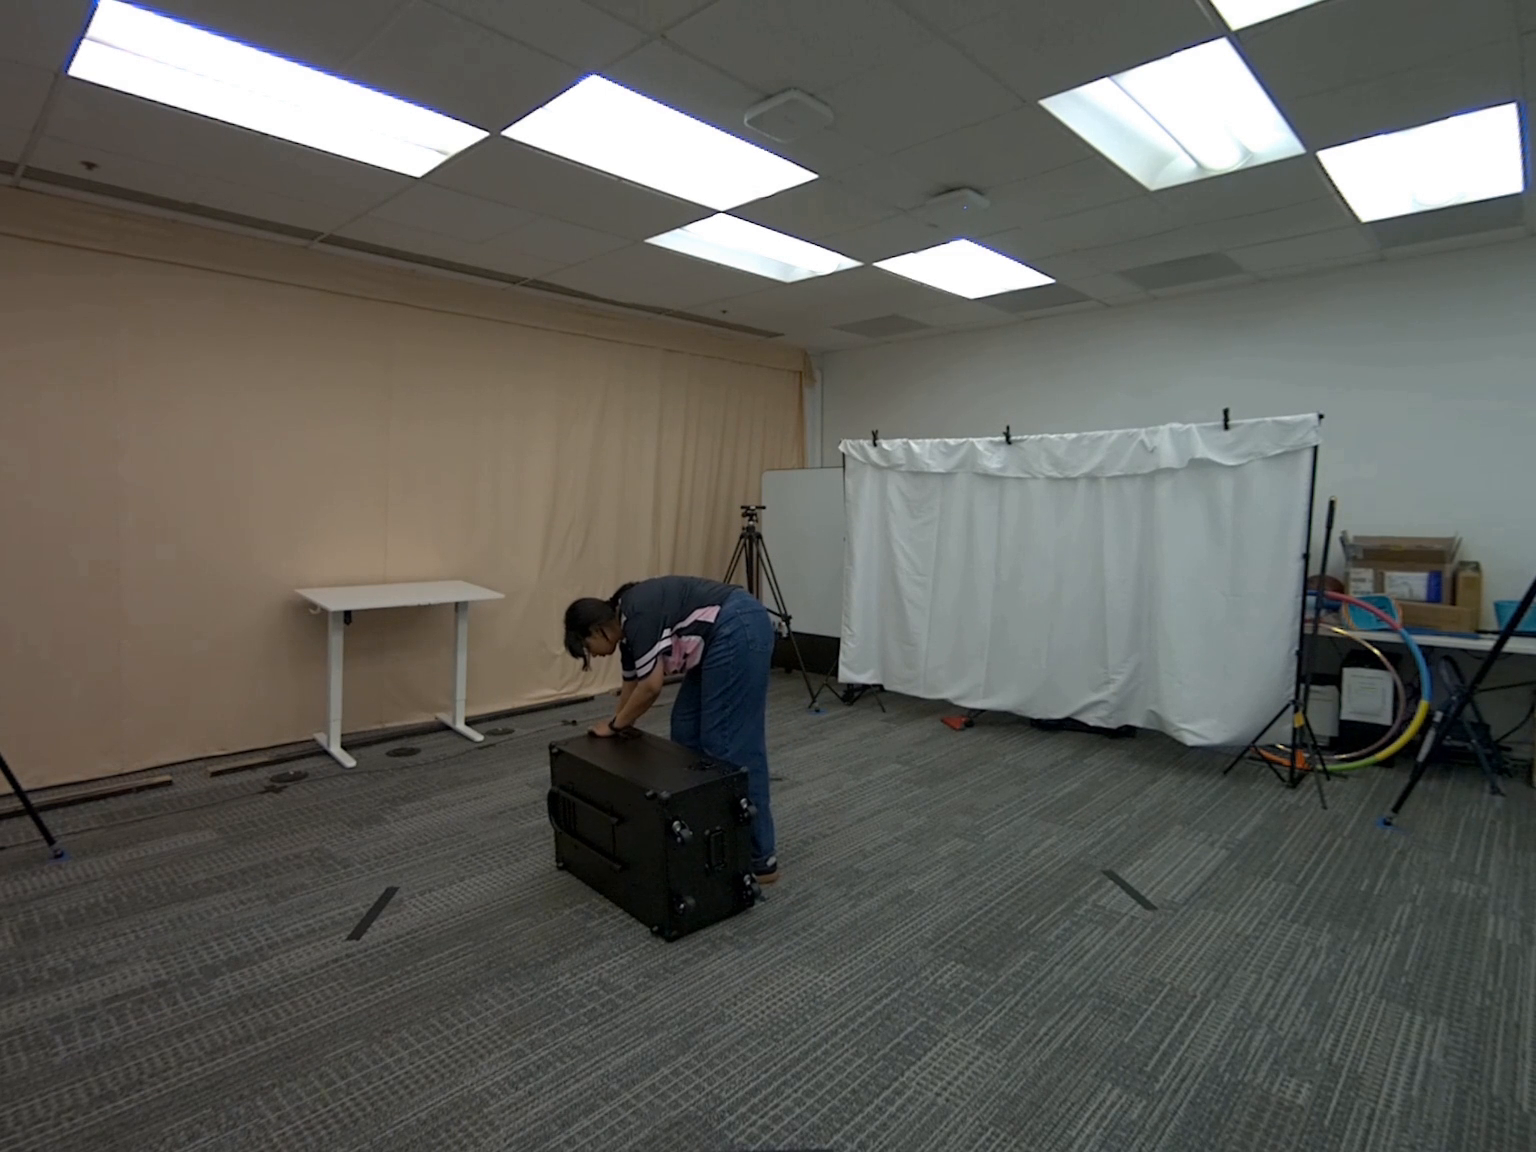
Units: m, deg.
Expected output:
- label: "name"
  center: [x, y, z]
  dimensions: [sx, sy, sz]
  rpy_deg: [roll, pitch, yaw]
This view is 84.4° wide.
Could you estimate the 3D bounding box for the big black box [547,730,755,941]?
- label: "big black box"
  center: [-0.427, 0.881, 3.039]
  dimensions: [0.373, 0.522, 0.897]
  rpy_deg: [-4, 5, -41]
